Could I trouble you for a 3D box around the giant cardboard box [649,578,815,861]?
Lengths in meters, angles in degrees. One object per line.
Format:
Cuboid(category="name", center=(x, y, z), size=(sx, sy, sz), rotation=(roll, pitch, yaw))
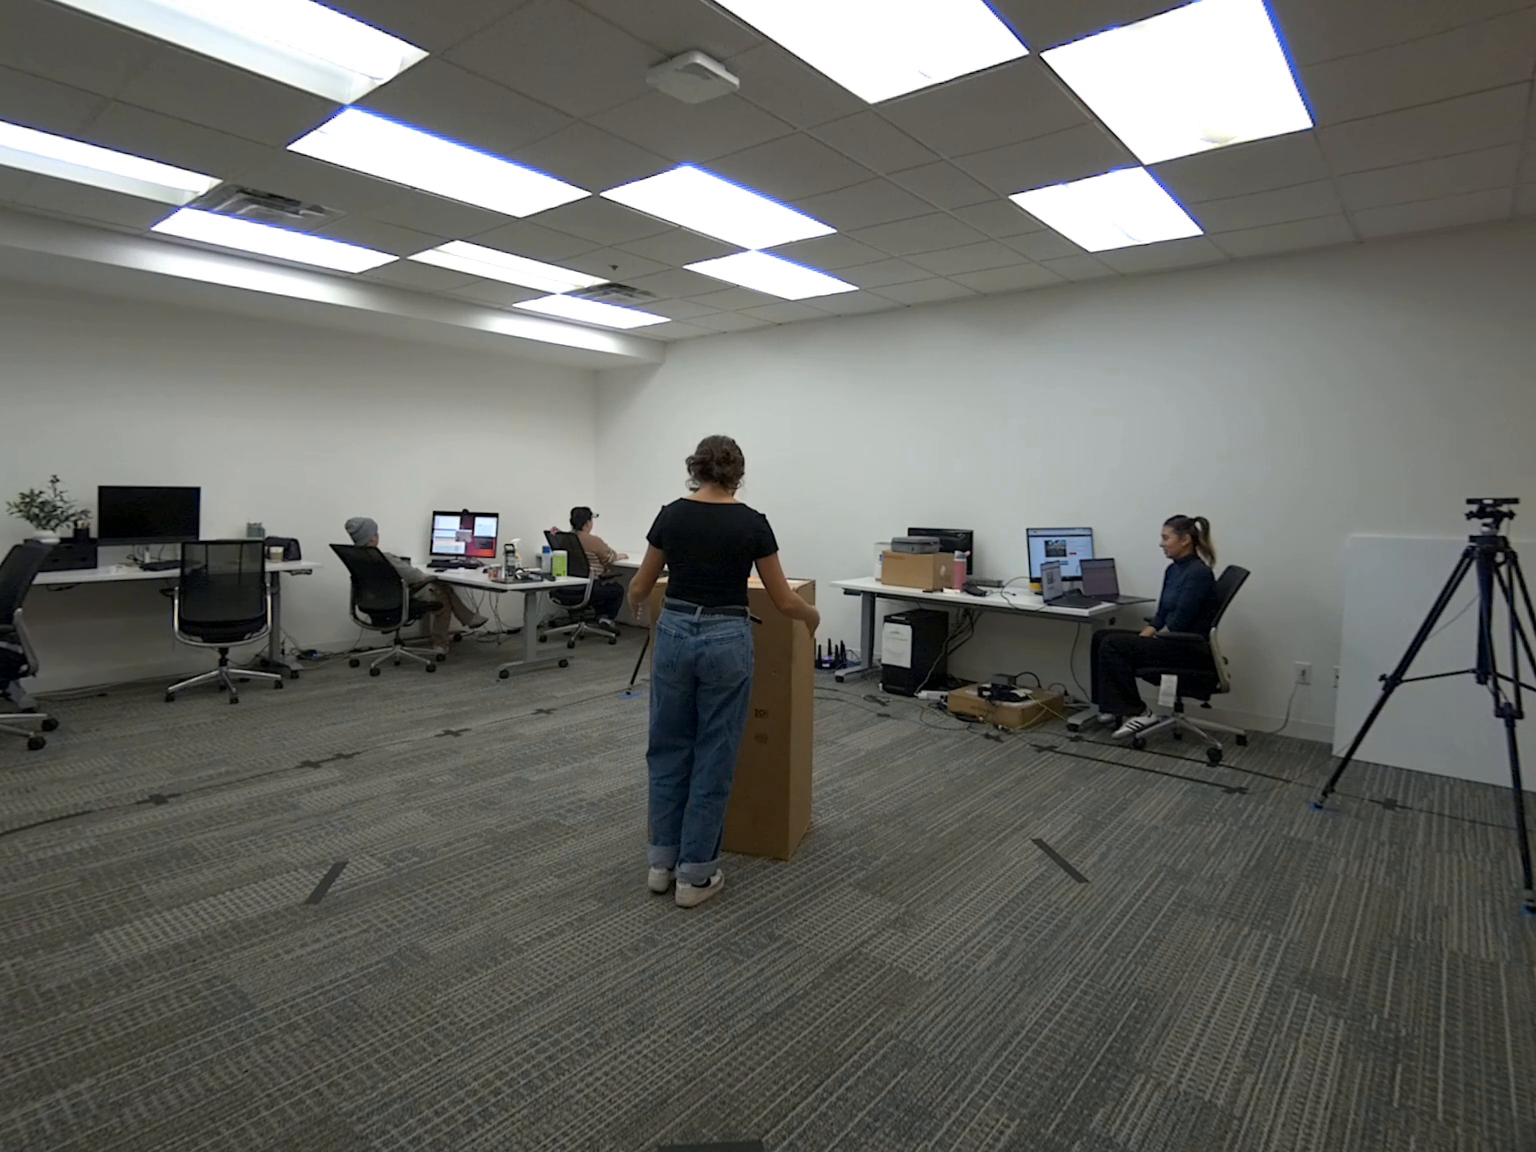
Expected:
Cuboid(category="giant cardboard box", center=(-0.139, 0.525, 3.444), size=(0.588, 1.023, 0.419), rotation=(2, 3, 17))
